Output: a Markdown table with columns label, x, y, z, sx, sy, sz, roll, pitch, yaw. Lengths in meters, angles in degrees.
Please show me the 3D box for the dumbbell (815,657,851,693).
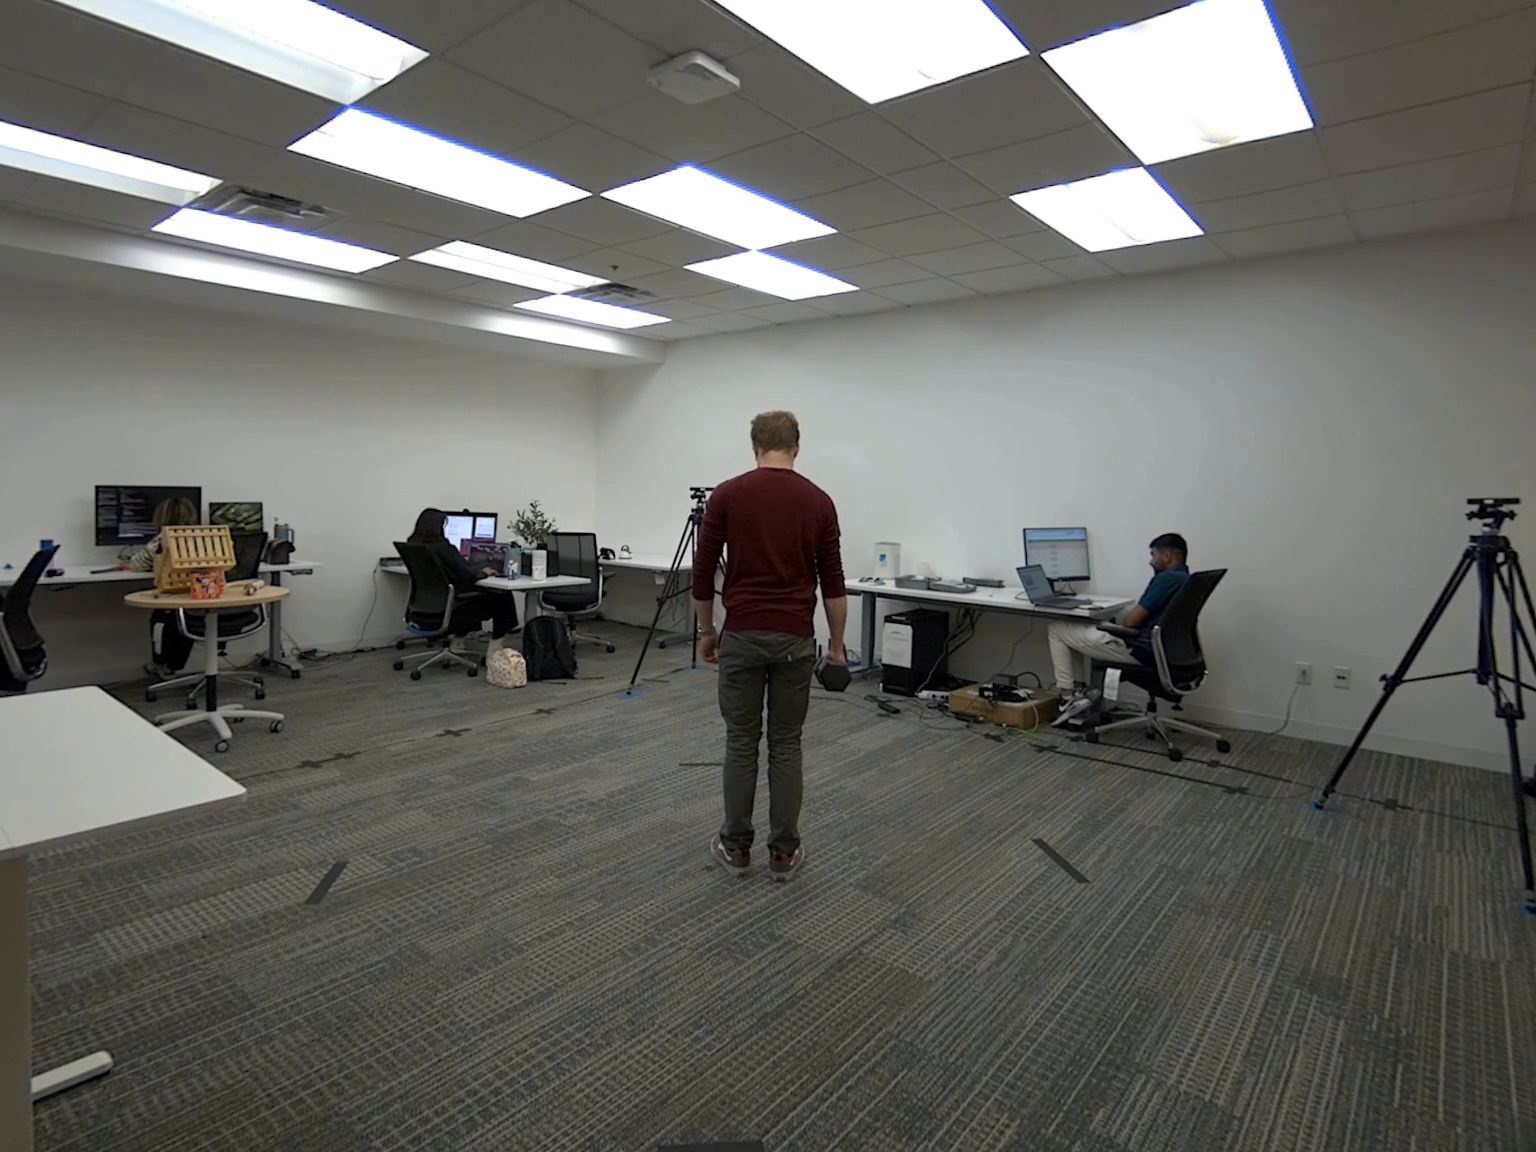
| label | x | y | z | sx | sy | sz | roll | pitch | yaw |
| --- | --- | --- | --- | --- | --- | --- | --- | --- | --- |
| dumbbell | 0.234 | 0.367 | 3.206 | 0.108 | 0.123 | 0.293 | -27 | 1 | -2 |
